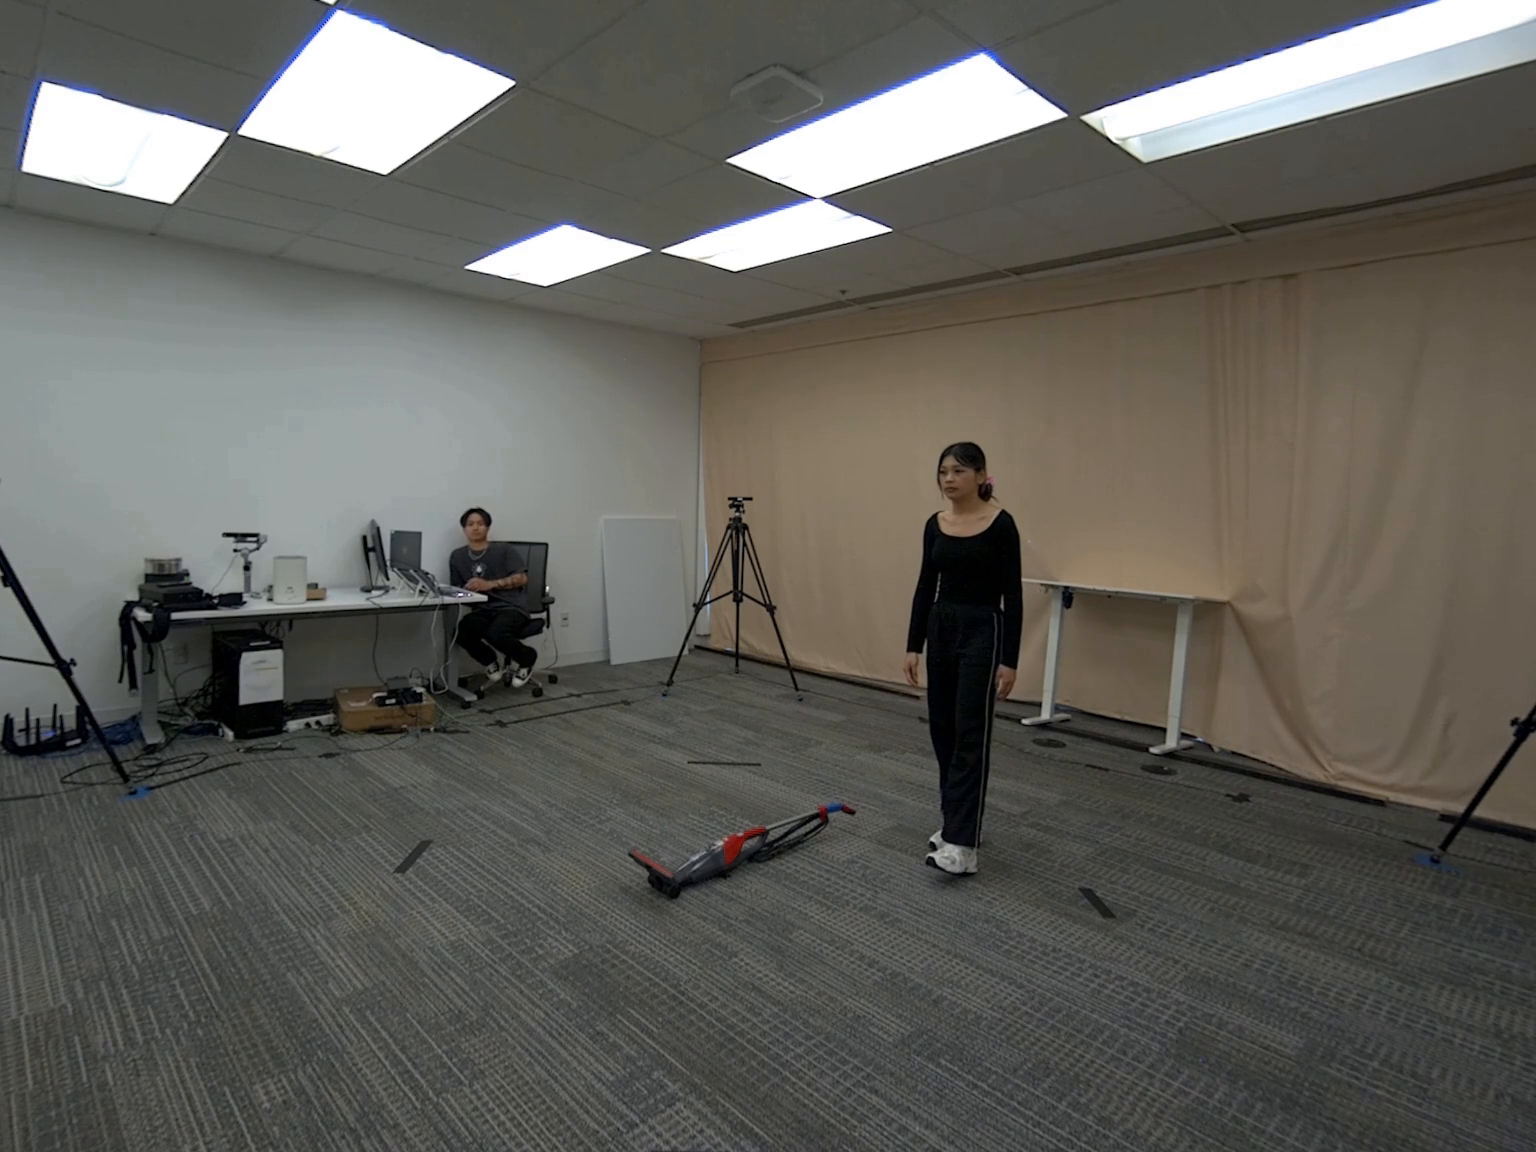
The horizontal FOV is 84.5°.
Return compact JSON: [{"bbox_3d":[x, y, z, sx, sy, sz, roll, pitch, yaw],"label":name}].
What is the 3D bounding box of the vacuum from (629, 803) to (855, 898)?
[{"bbox_3d":[-0.025,1.041,3.273,1.025,0.143,0.259,-2,8,-42],"label":"vacuum"}]
